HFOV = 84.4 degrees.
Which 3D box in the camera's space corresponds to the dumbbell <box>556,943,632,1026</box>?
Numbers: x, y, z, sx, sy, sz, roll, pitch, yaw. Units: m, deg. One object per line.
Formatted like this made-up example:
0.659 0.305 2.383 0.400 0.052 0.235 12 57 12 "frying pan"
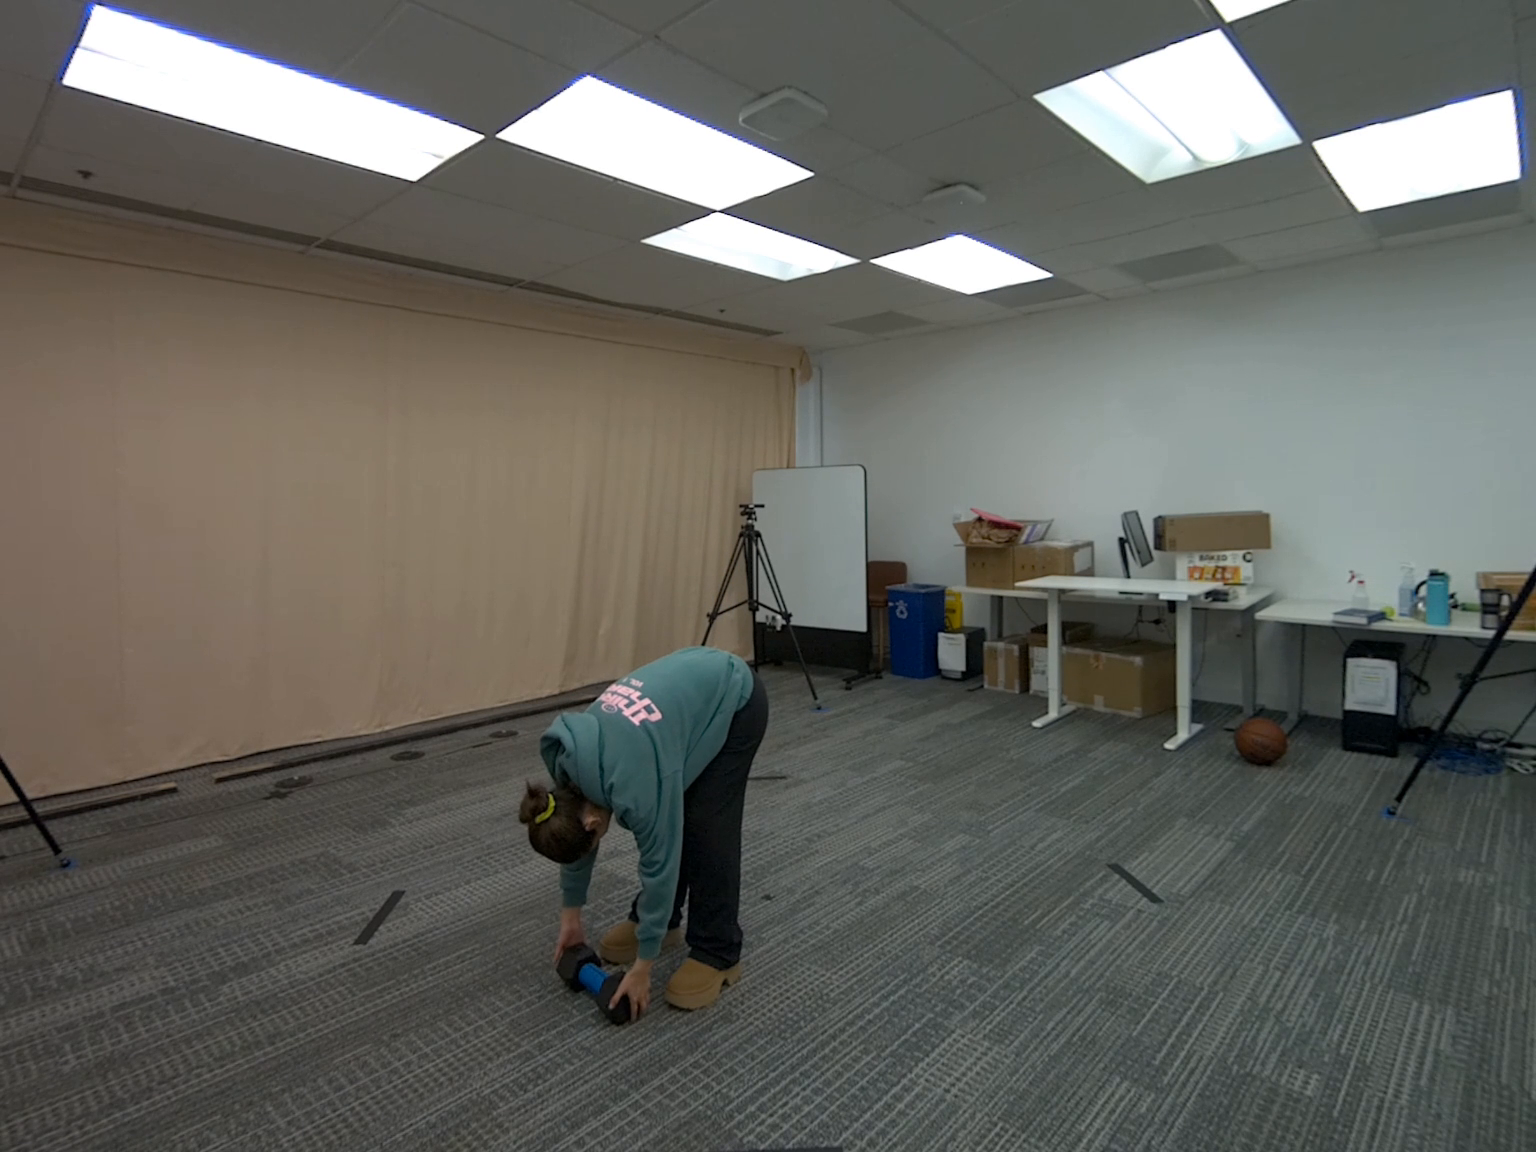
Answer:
-0.475 1.149 2.380 0.303 0.120 0.108 2 38 48 "dumbbell"
